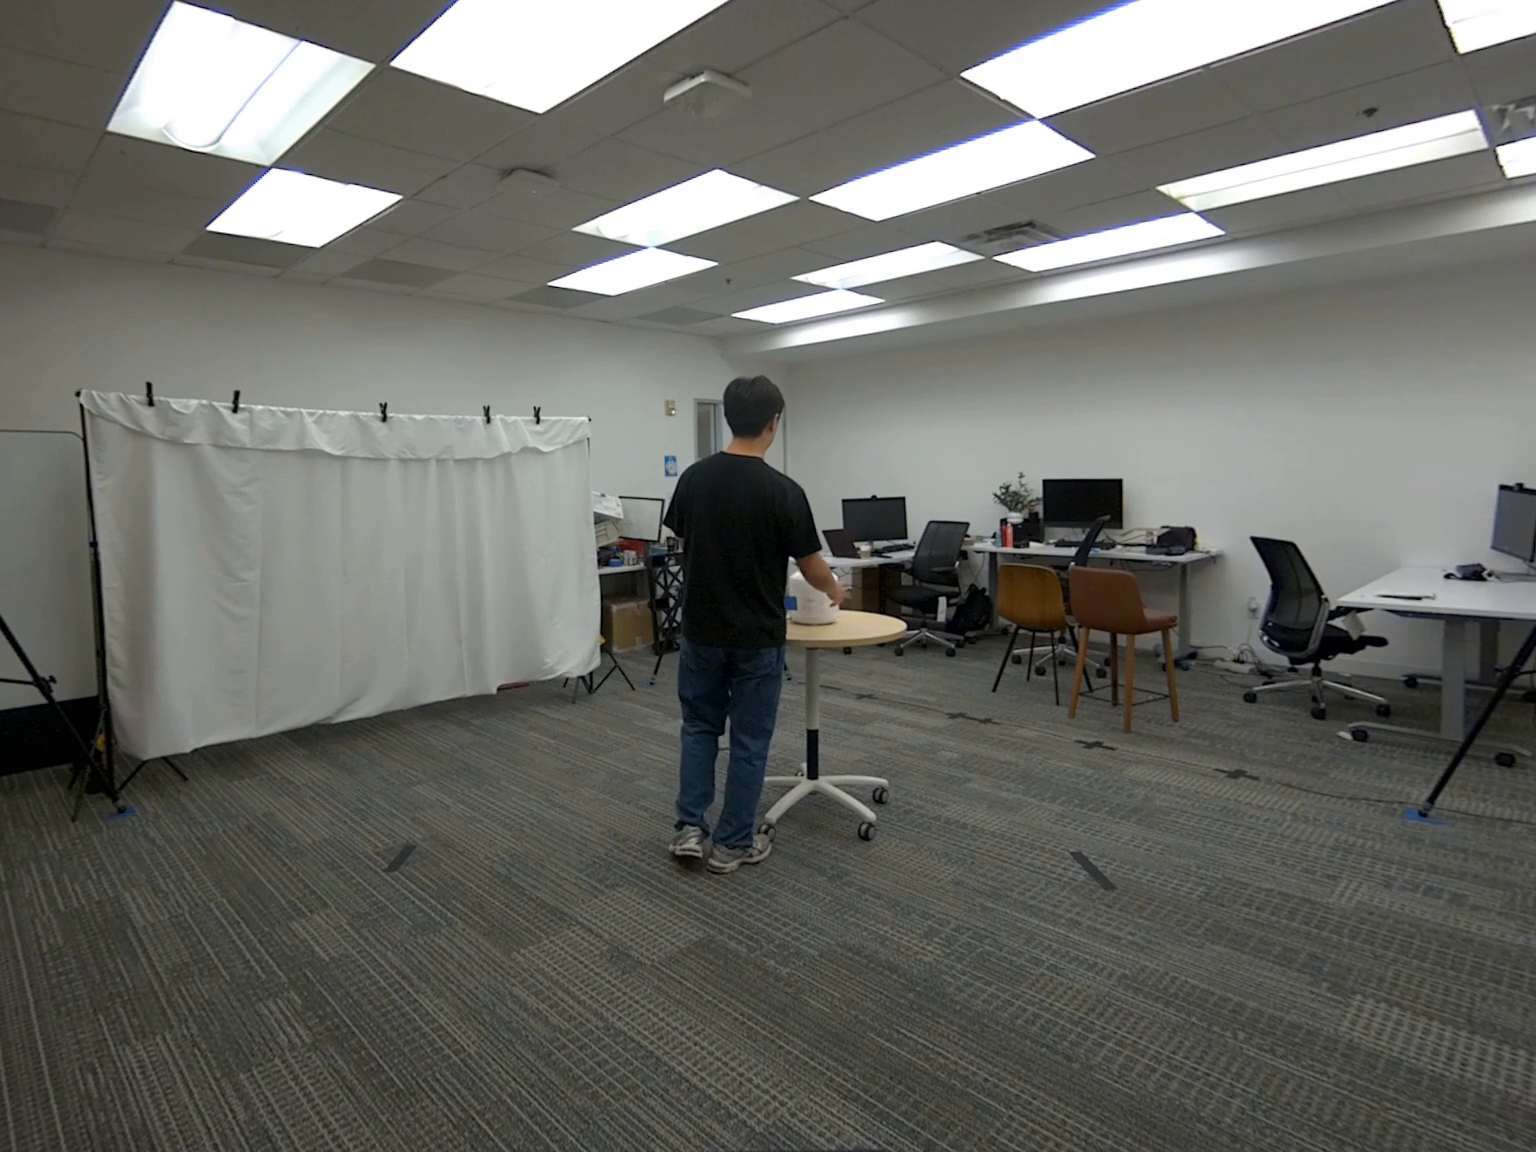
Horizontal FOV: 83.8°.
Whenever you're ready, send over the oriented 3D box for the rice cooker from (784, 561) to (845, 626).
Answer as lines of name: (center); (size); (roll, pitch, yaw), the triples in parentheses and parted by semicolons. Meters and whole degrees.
rice cooker: (0.196, 0.076, 3.550); (0.227, 0.232, 0.212); (4, 8, 41)
